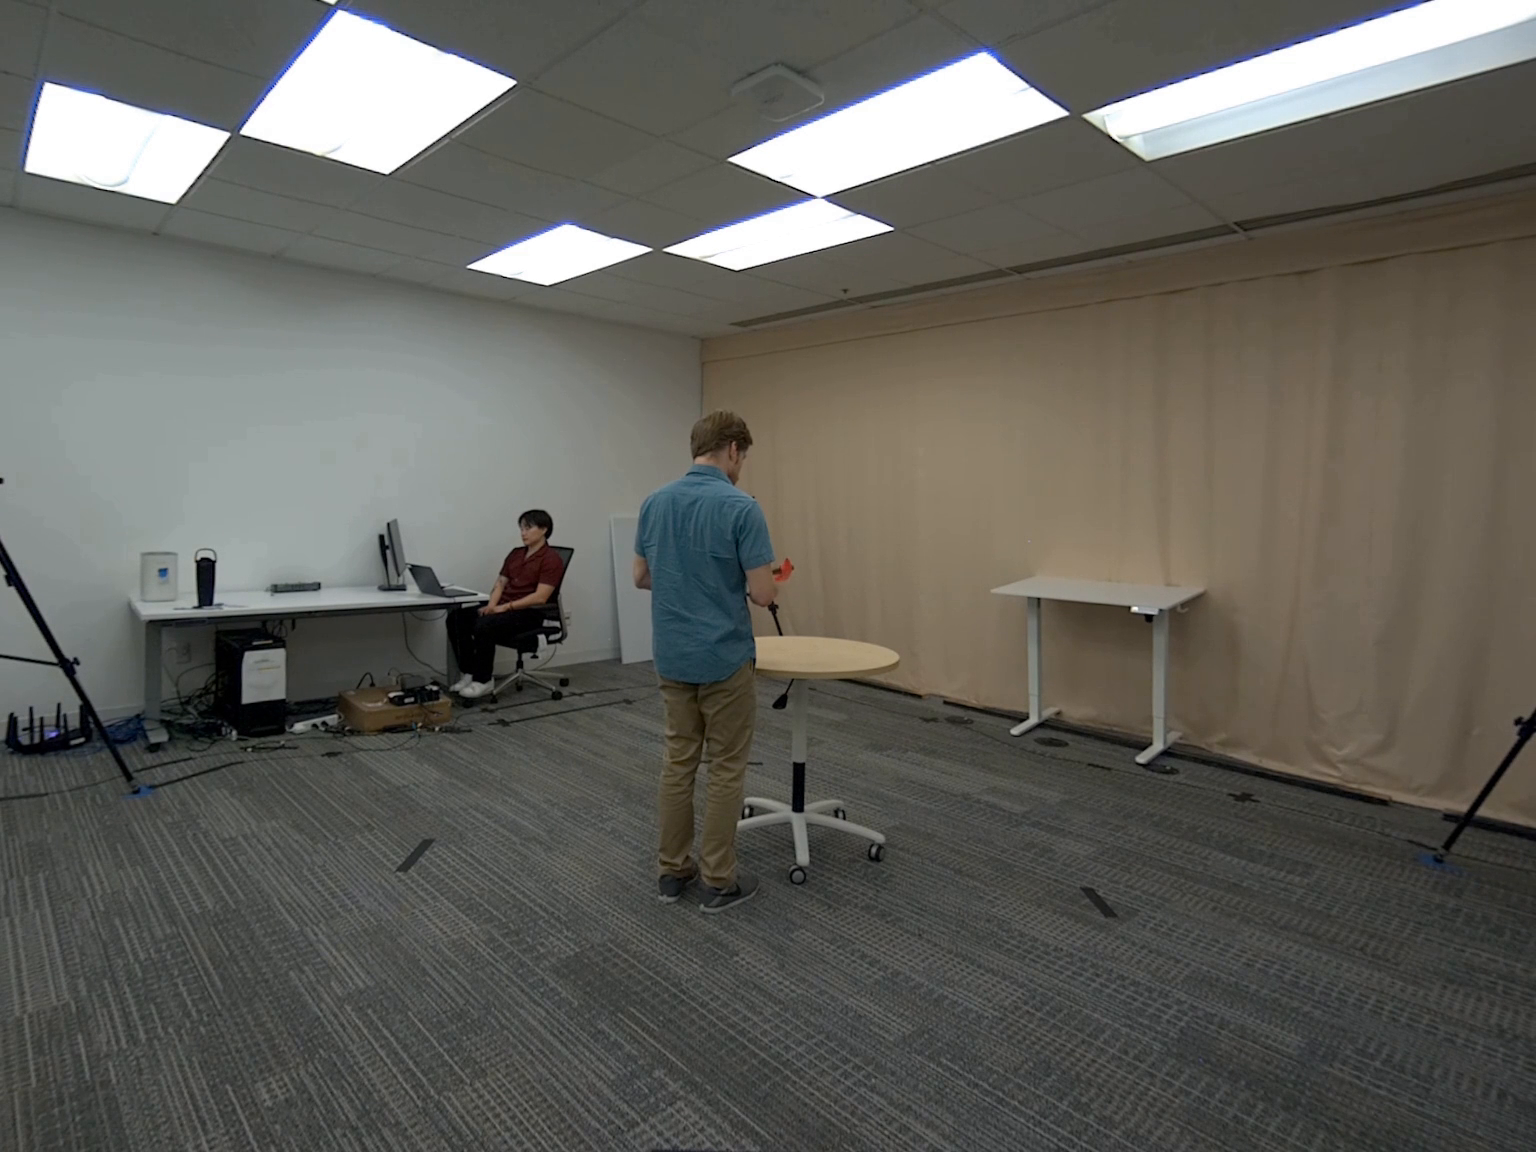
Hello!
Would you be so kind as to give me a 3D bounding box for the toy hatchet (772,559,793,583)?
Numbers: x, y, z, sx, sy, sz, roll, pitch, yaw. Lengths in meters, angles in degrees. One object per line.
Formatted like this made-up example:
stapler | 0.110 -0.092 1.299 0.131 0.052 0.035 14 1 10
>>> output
toy hatchet | -0.037 0.015 3.126 0.270 0.030 0.127 -22 -33 -3
